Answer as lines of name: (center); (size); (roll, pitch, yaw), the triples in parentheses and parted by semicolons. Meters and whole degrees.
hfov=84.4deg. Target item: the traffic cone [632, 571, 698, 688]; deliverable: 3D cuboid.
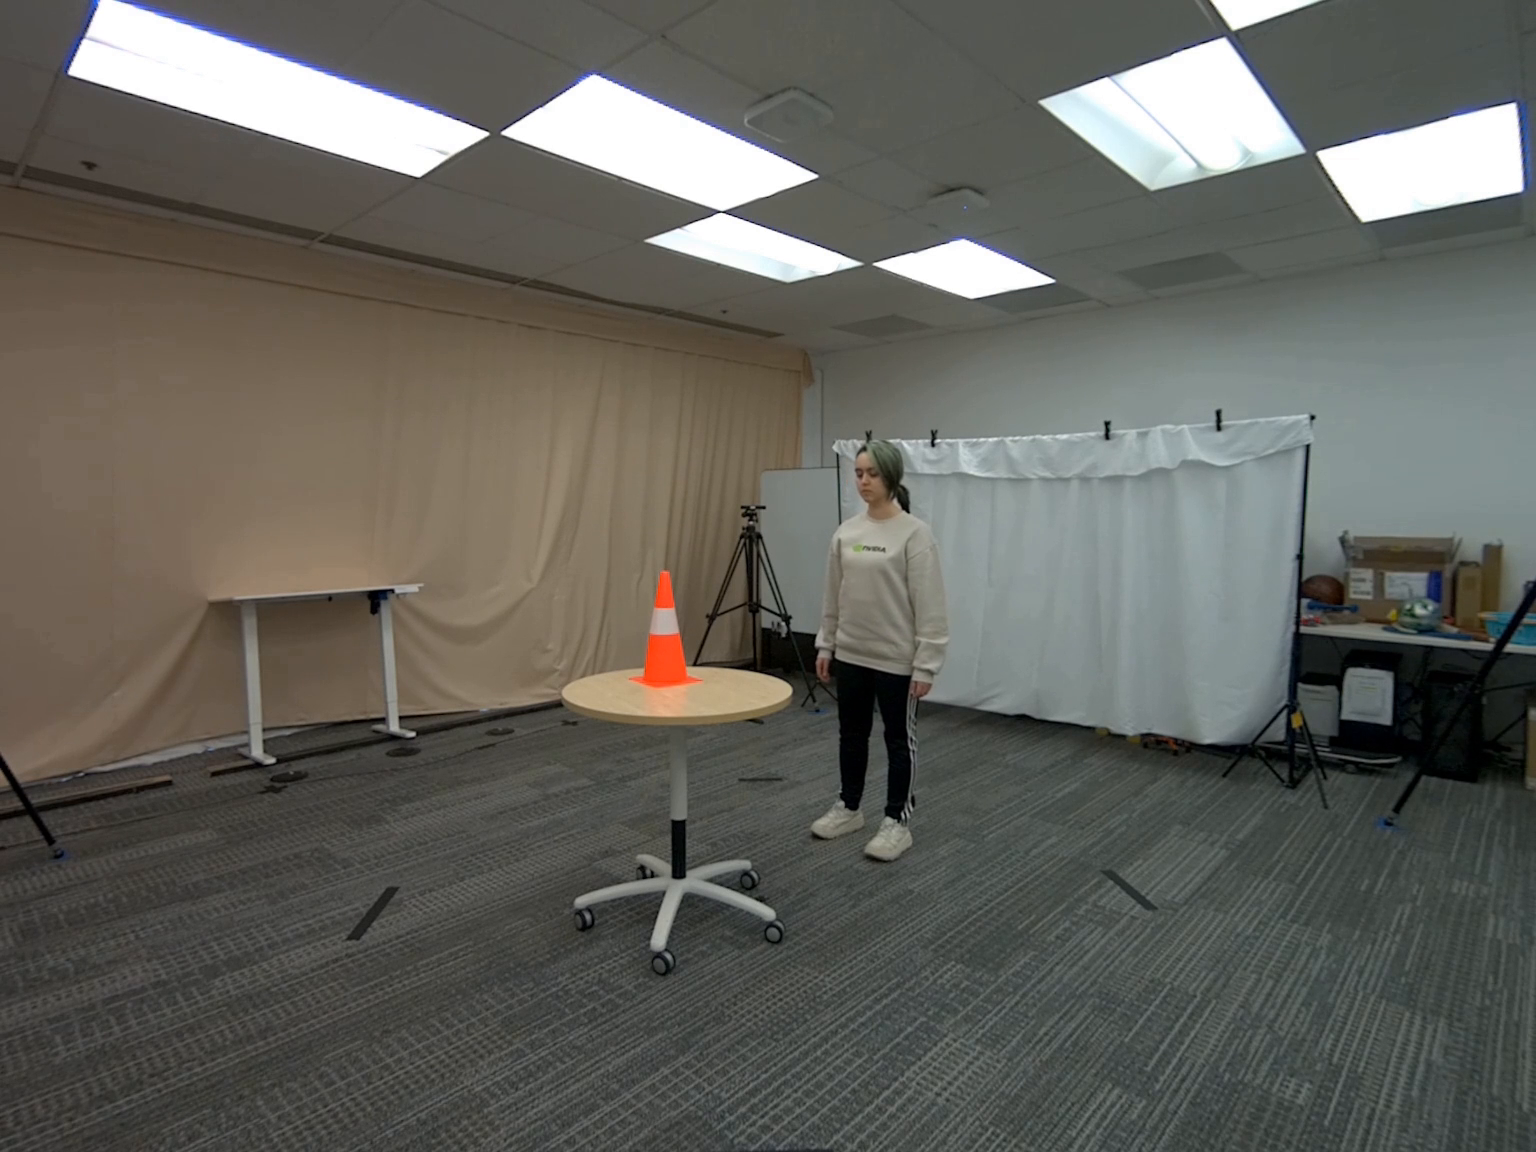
traffic cone: (-0.359, 0.178, 2.952); (0.212, 0.383, 0.197); (1, 3, 43)
